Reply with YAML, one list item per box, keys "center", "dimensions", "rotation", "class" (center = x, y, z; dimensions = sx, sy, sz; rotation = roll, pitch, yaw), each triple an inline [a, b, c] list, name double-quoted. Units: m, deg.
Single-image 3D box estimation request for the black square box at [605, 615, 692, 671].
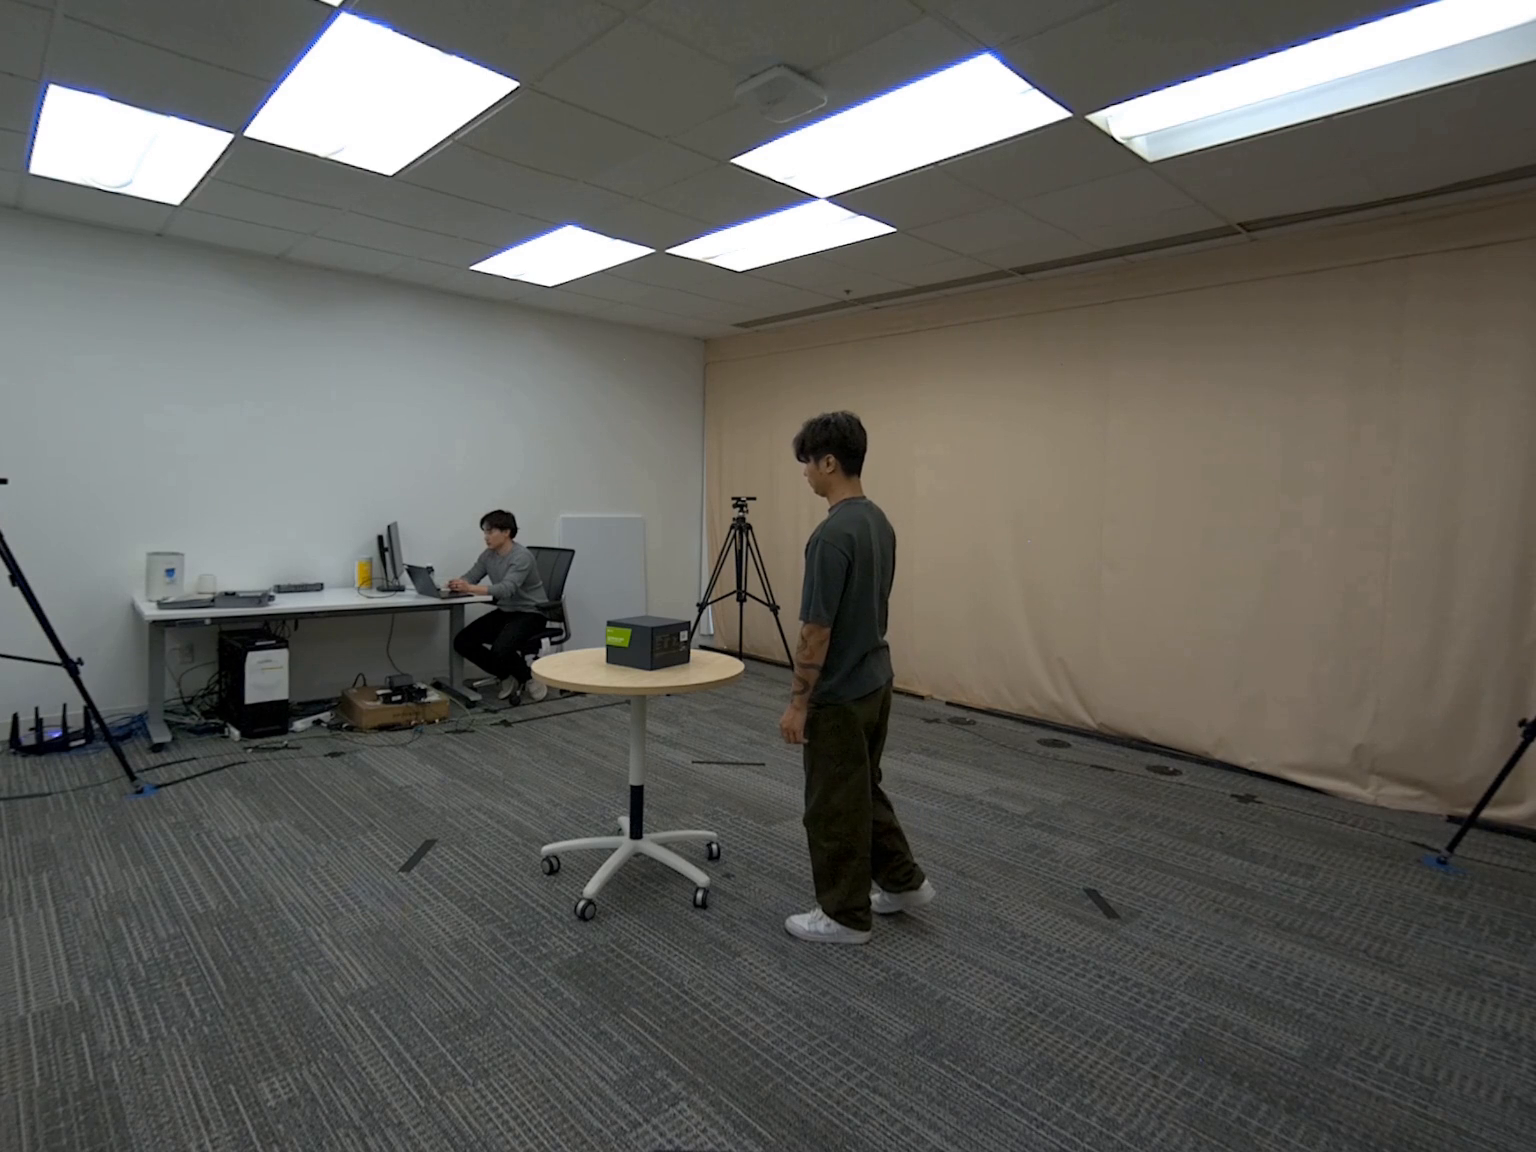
- center: [-0.445, 0.239, 3.074]
  dimensions: [0.233, 0.155, 0.212]
  rotation: [4, 5, 35]
  class: "black square box"
